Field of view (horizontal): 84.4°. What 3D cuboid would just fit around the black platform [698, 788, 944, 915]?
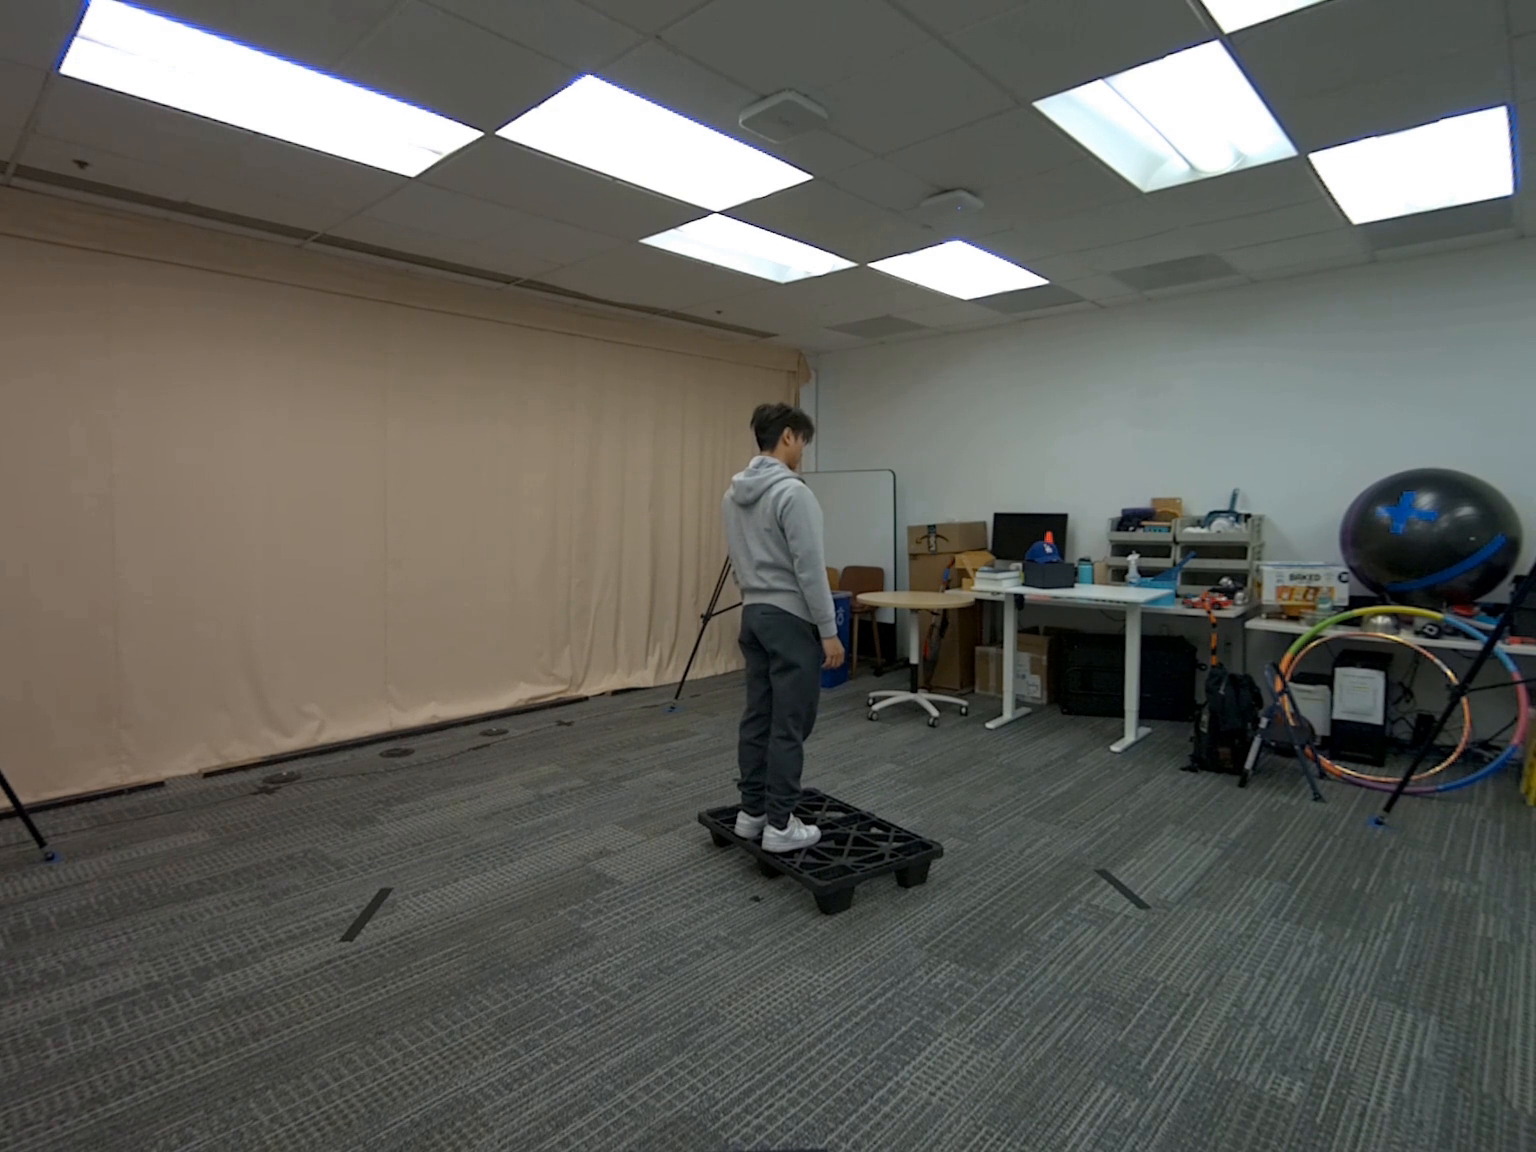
[{"bbox_3d":[0.180,1.052,3.277,0.588,0.143,0.831,-4,6,-34],"label":"black platform"}]
